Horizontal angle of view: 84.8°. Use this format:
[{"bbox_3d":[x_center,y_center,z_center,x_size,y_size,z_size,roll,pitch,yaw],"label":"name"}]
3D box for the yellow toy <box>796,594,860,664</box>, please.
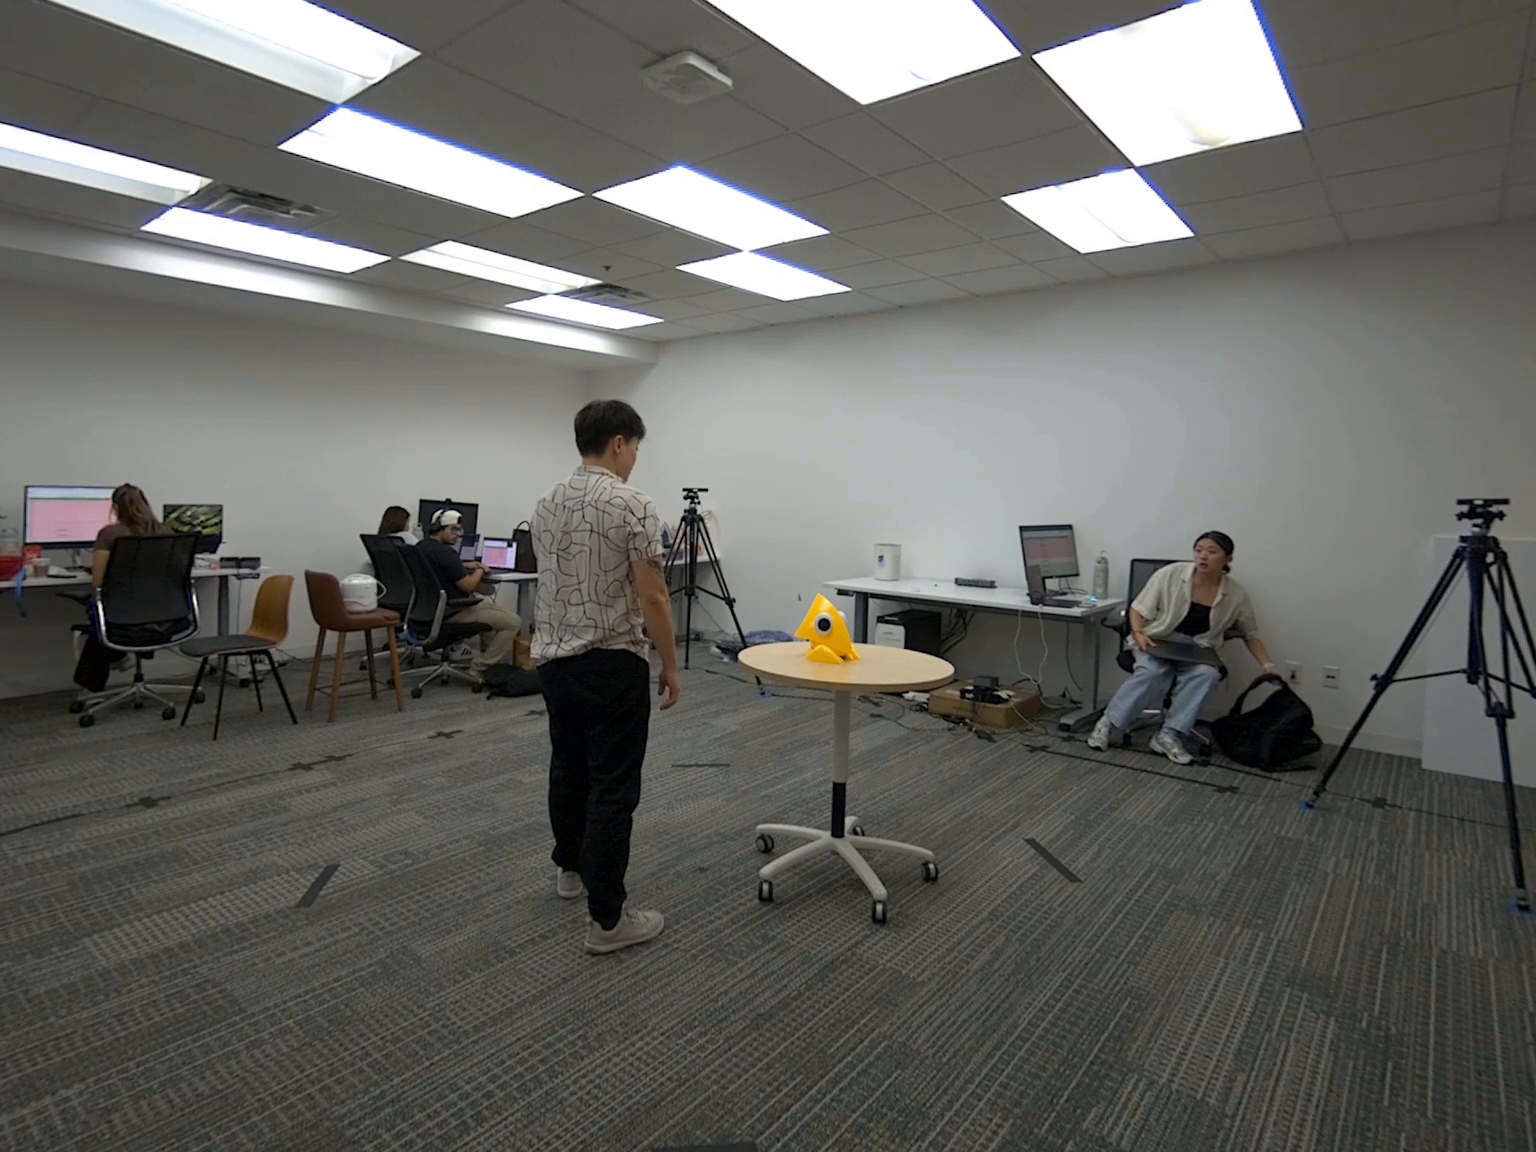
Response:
[{"bbox_3d":[0.225,0.184,3.096,0.200,0.230,0.198,6,5,39],"label":"yellow toy"}]
